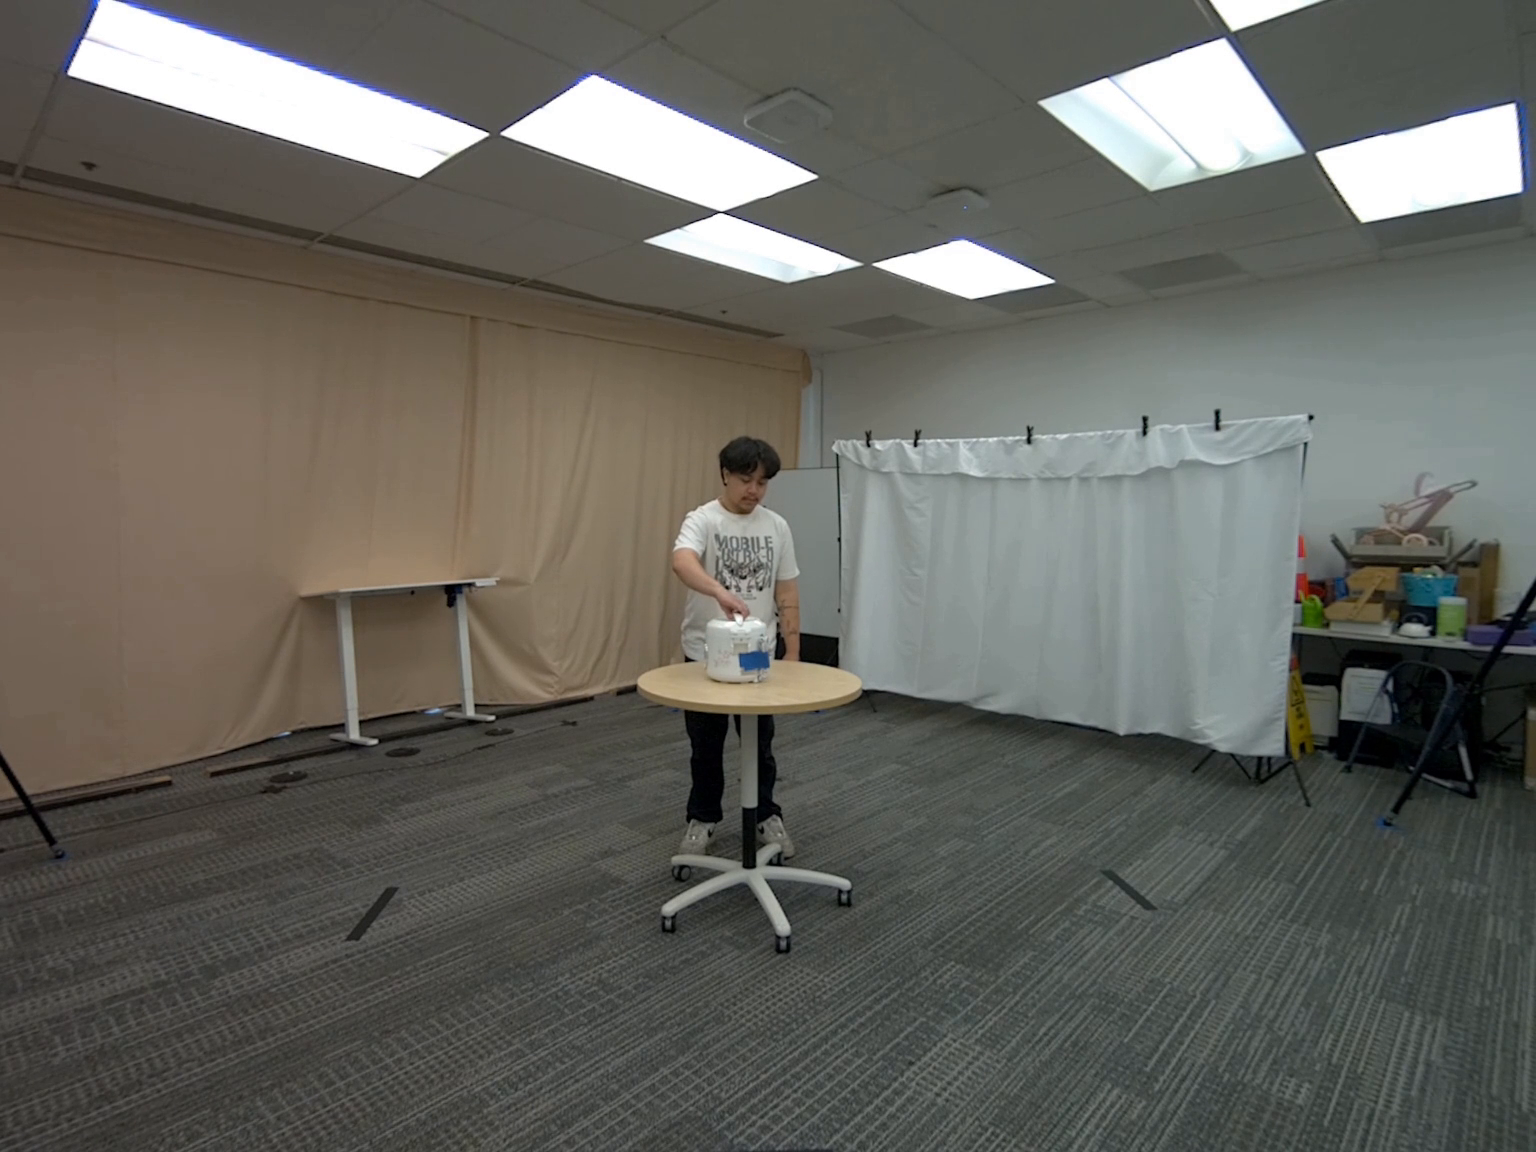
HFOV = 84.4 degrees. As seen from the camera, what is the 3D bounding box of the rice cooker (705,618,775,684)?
[{"bbox_3d":[-0.107,0.235,2.893,0.216,0.232,0.223,0,3,-8],"label":"rice cooker"}]
